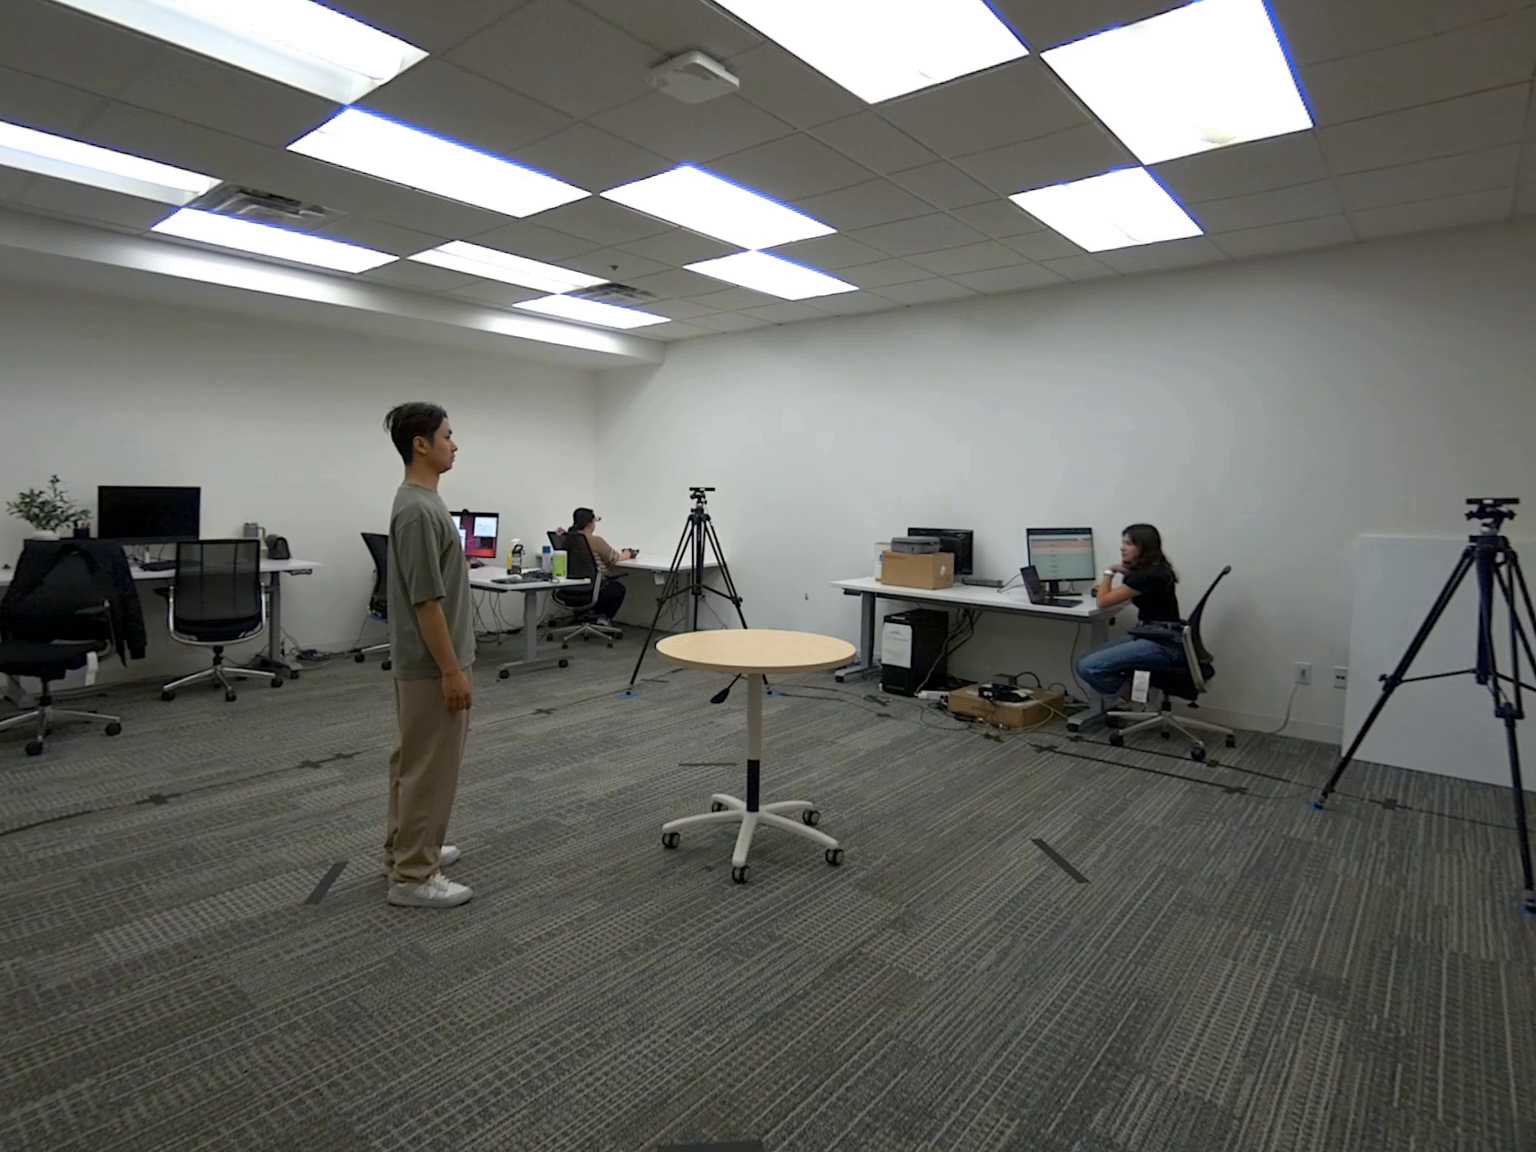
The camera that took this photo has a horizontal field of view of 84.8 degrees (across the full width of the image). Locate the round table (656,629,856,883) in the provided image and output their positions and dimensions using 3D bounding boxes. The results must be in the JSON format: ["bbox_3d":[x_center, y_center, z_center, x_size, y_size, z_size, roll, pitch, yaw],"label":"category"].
[{"bbox_3d":[-0.067,0.660,3.290,0.784,0.784,0.789,0,5,-2],"label":"round table"}]
